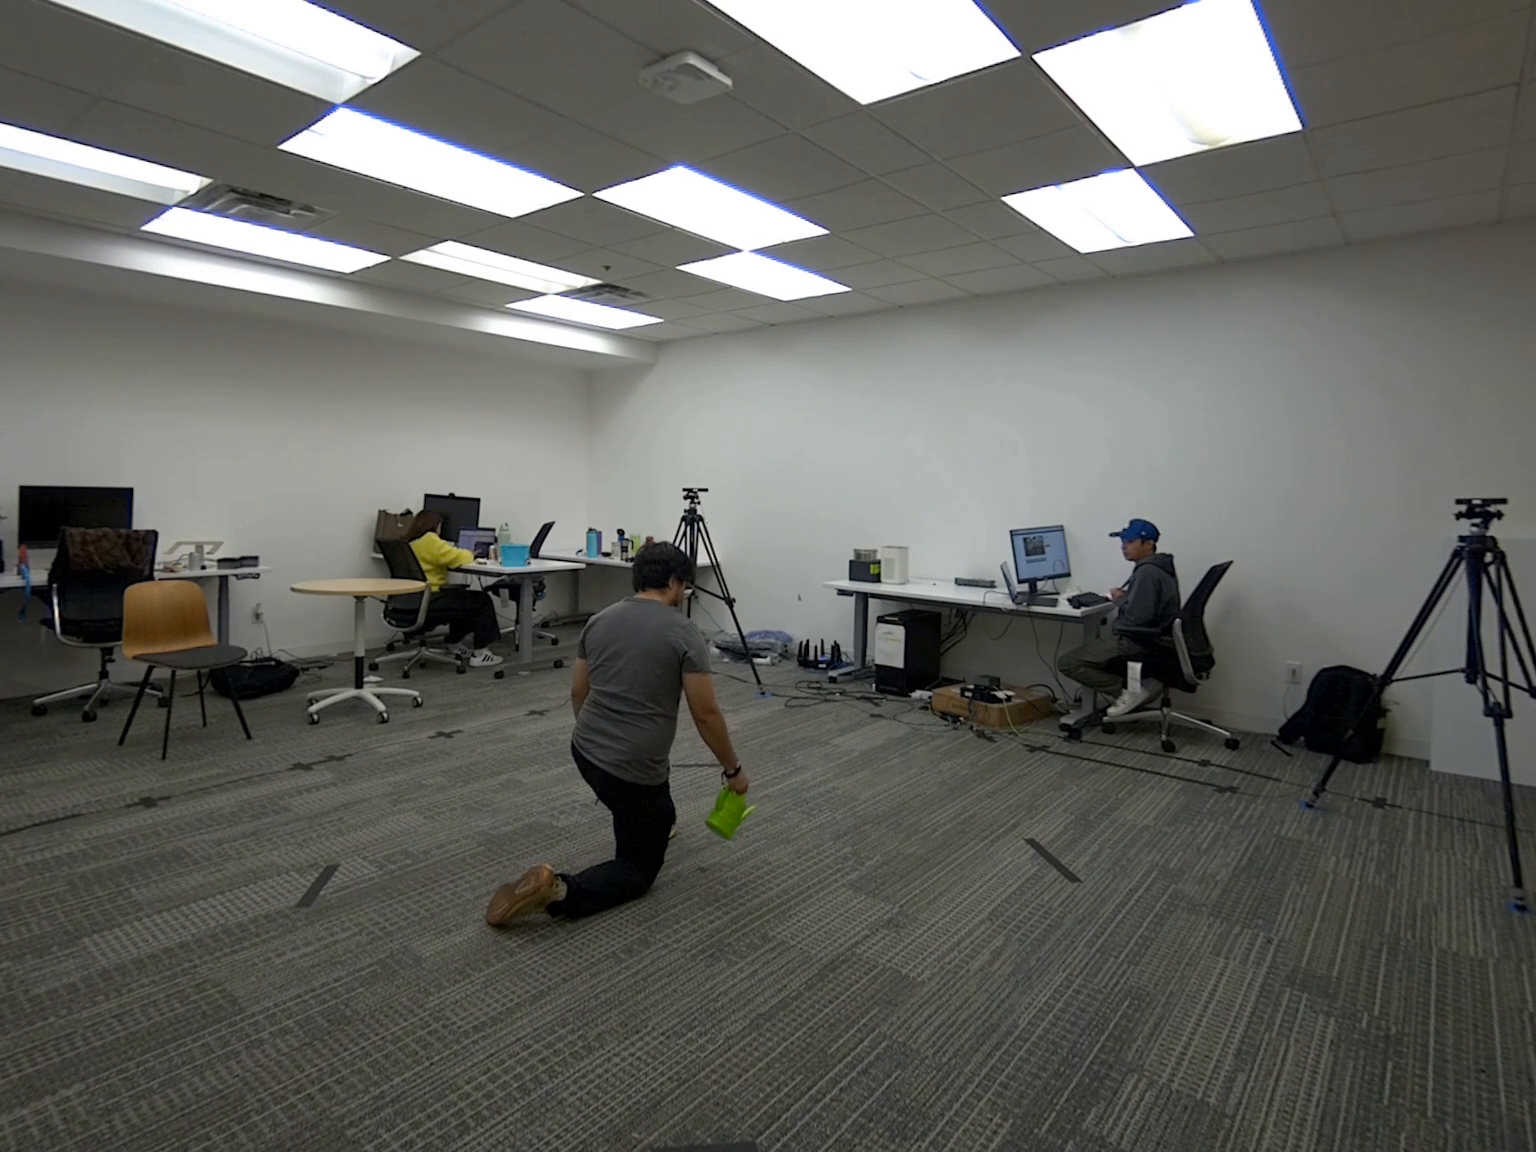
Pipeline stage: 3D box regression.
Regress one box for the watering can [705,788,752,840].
[{"bbox_3d":[-0.122,0.856,3.031,0.101,0.178,0.268,-2,-41,46],"label":"watering can"}]
